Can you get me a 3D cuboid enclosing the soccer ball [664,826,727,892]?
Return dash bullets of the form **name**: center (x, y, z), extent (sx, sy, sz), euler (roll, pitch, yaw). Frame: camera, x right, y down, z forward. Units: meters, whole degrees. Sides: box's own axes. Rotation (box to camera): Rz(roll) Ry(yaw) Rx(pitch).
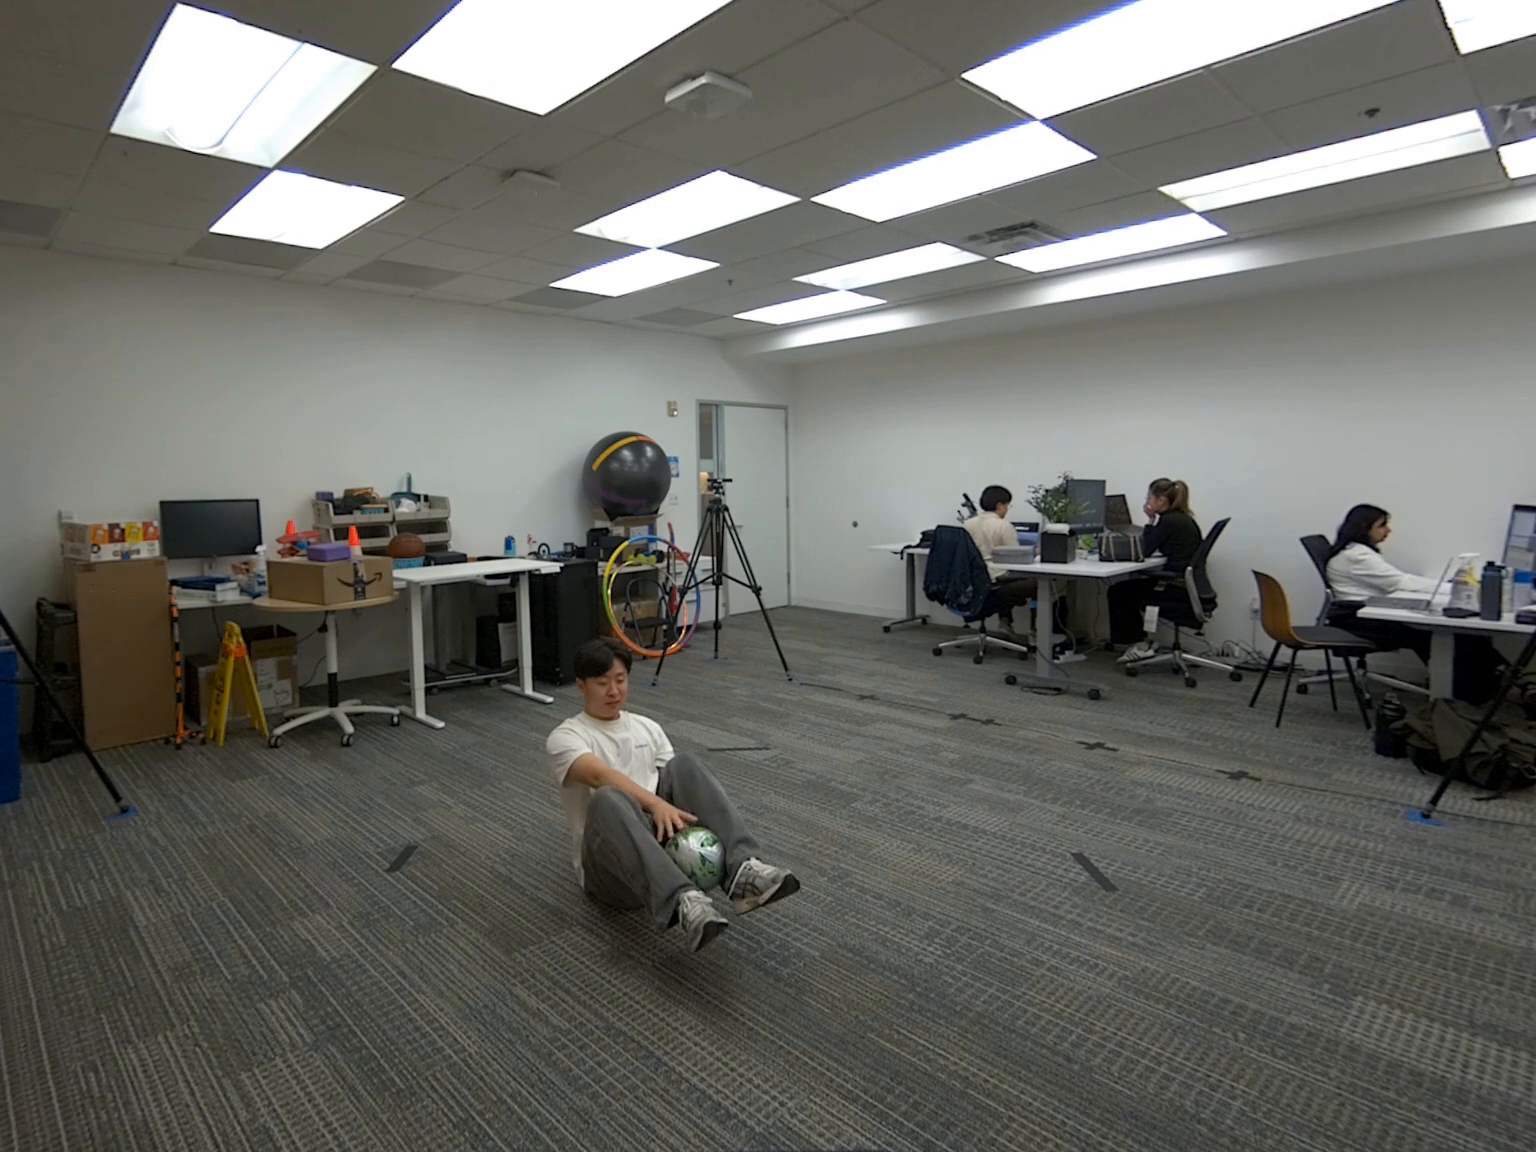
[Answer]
- **soccer ball**: center (-0.219, 0.825, 2.493), extent (0.187, 0.187, 0.188), euler (-1, 5, -2)
